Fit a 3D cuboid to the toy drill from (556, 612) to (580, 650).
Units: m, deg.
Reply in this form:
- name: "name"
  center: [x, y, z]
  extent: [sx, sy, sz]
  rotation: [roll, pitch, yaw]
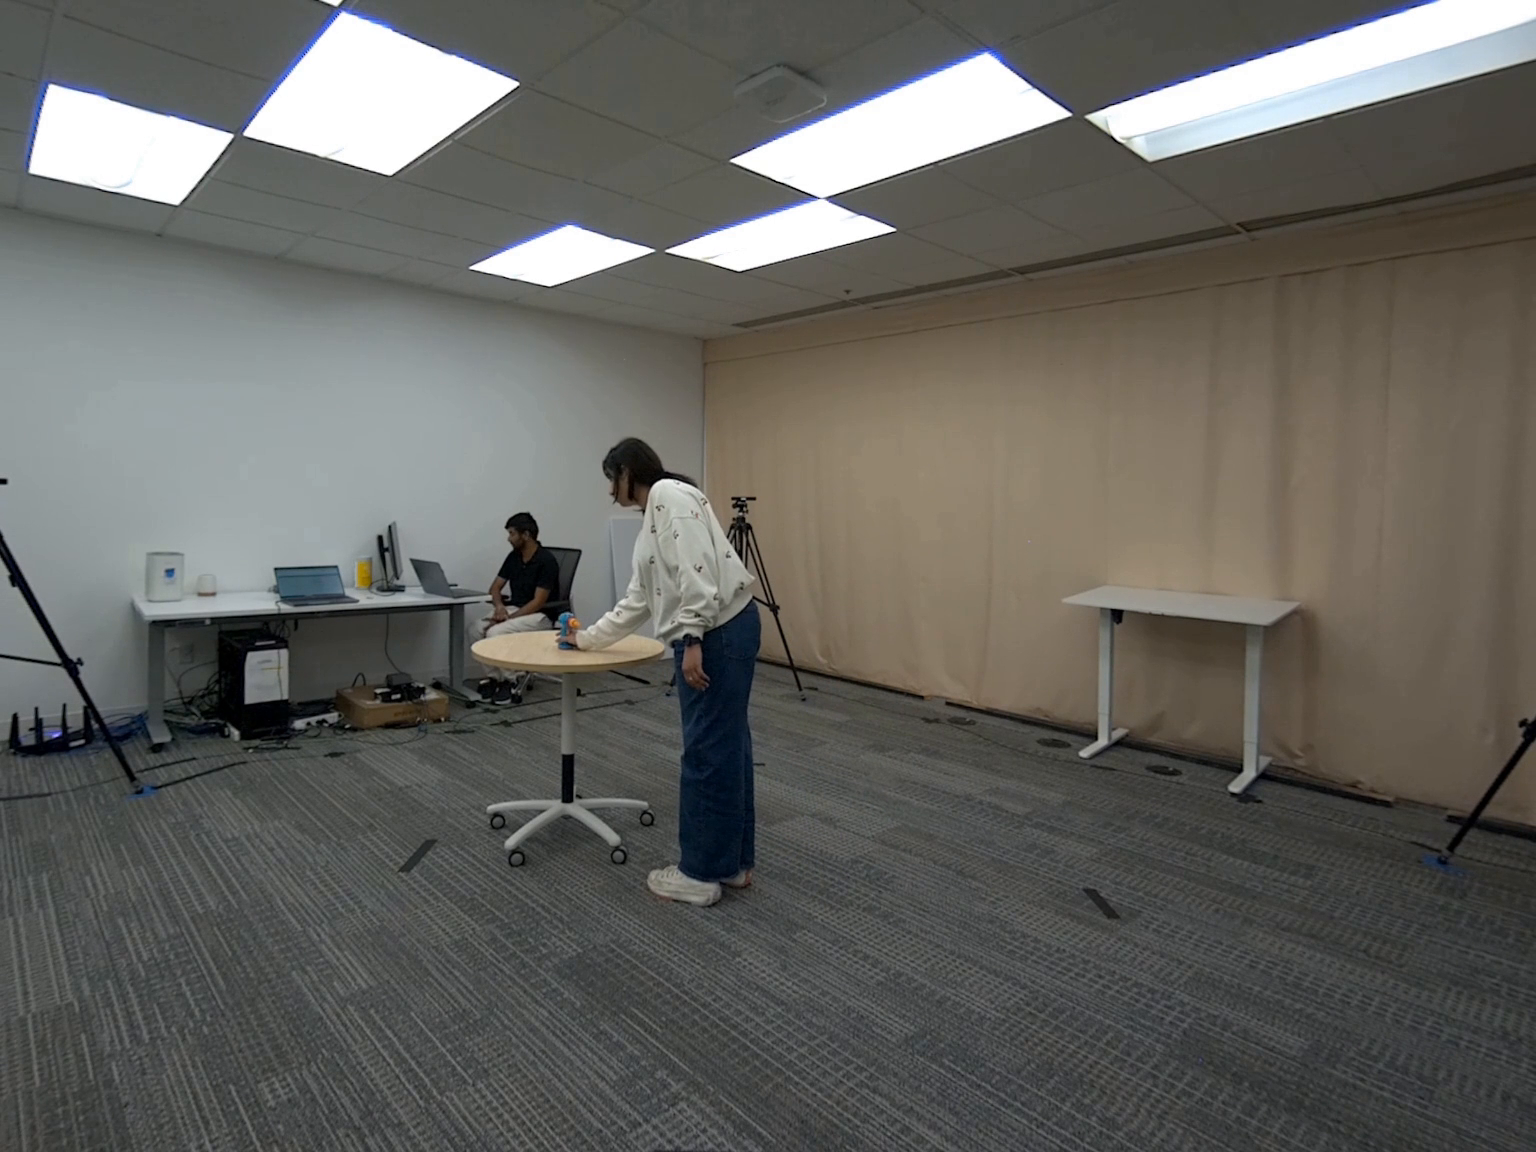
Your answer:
- name: "toy drill"
  center: [-0.784, 0.216, 3.307]
  extent: [0.060, 0.146, 0.174]
  rotation: [2, 4, -40]
